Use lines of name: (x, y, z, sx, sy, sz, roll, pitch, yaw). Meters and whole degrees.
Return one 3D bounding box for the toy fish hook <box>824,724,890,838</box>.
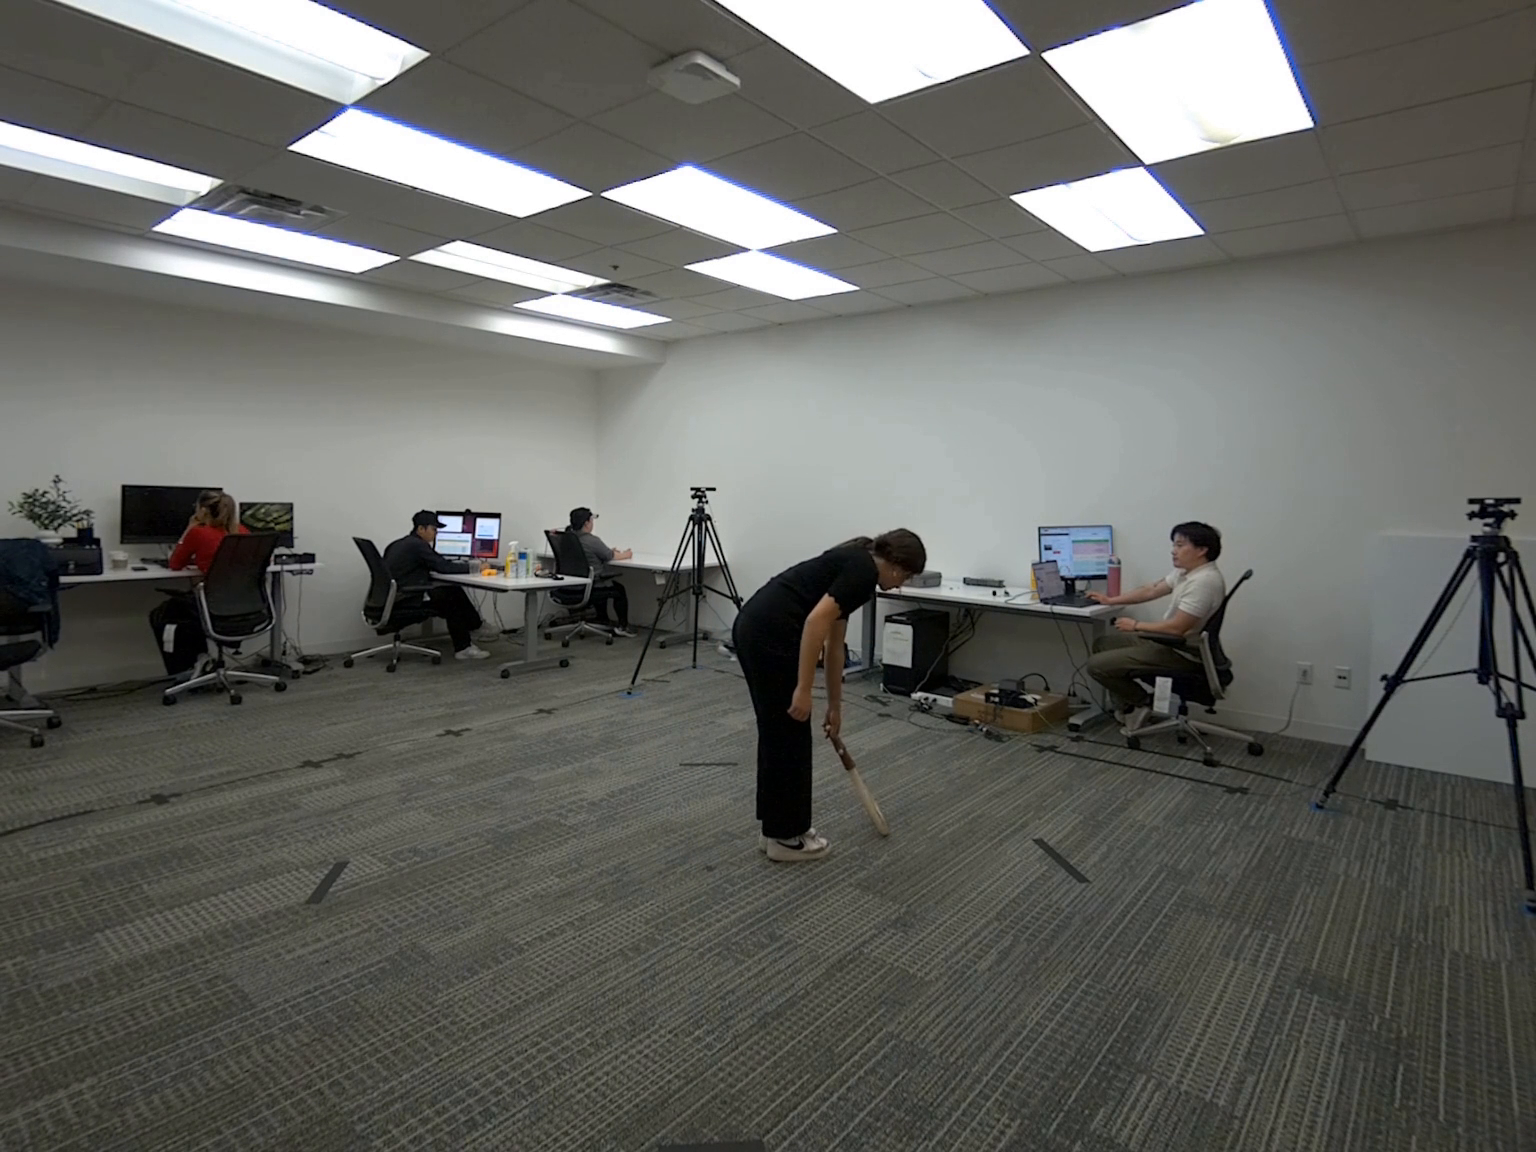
toy fish hook: (0.354, 0.826, 3.499, 0.048, 0.506, 0.225, -28, 2, 2)
